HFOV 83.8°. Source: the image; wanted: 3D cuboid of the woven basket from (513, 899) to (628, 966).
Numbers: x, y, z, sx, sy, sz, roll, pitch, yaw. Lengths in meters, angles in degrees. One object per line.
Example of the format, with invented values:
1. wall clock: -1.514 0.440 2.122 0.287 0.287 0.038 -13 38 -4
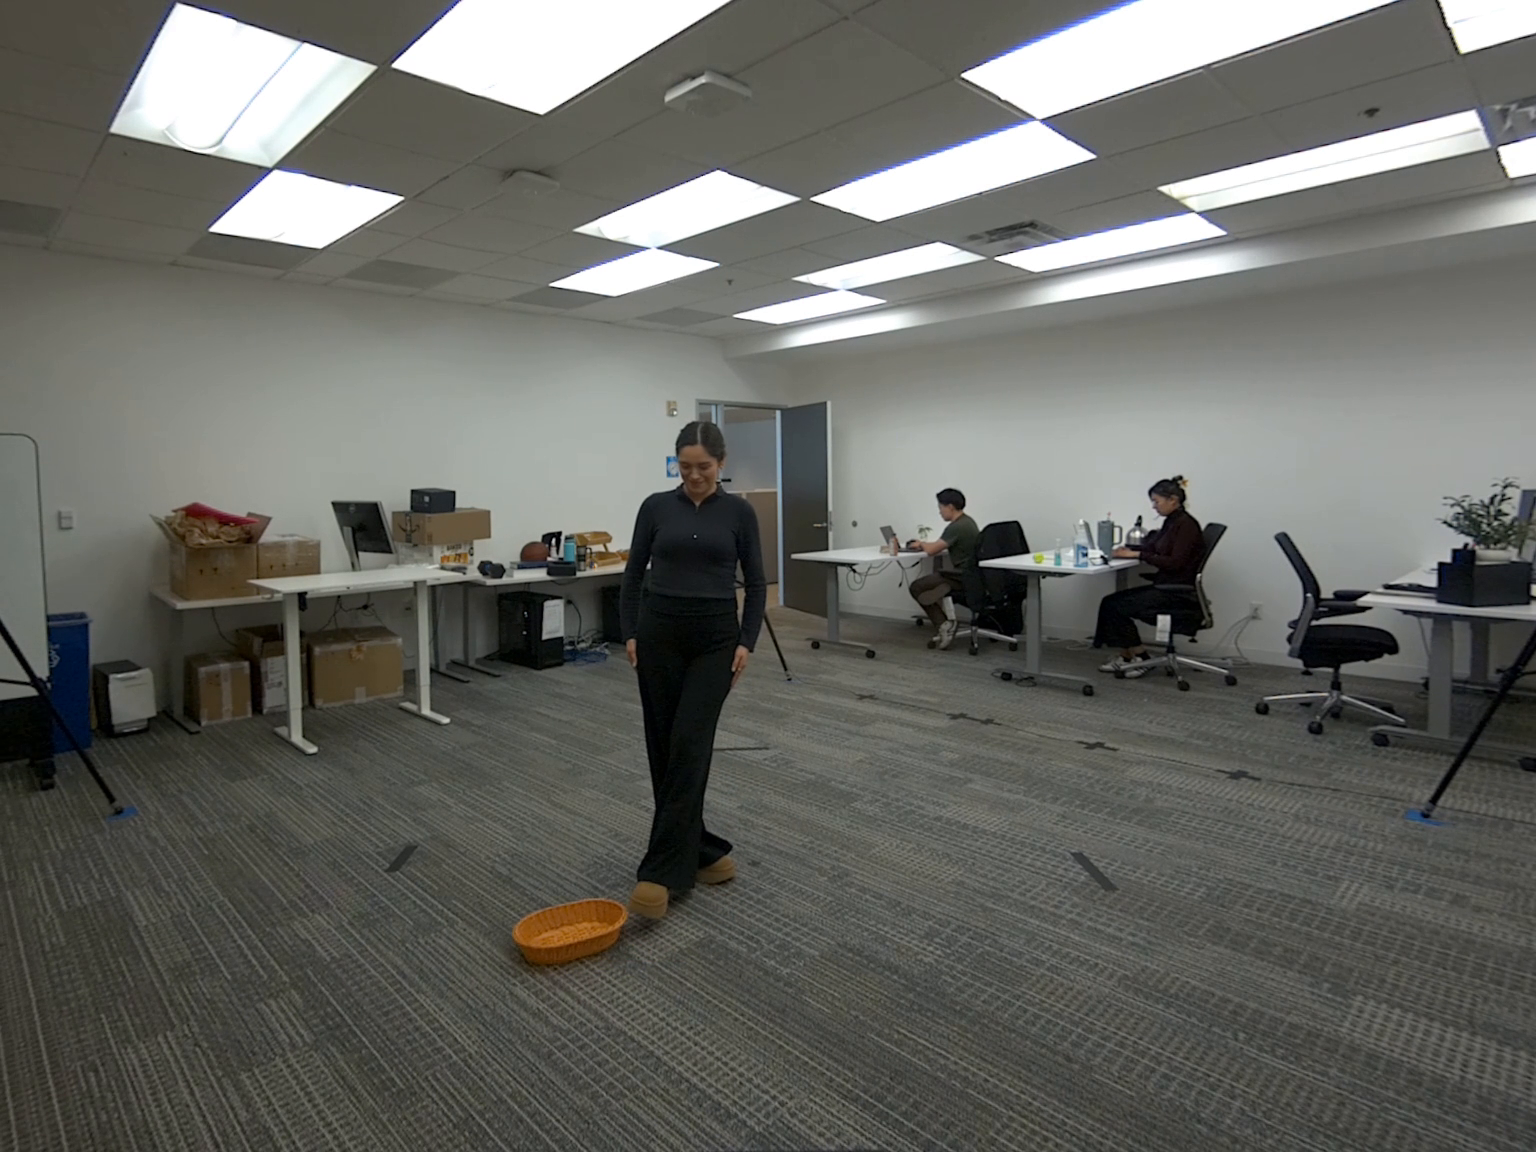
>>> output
1. woven basket: -0.586 1.076 2.579 0.343 0.073 0.258 -4 5 -24
